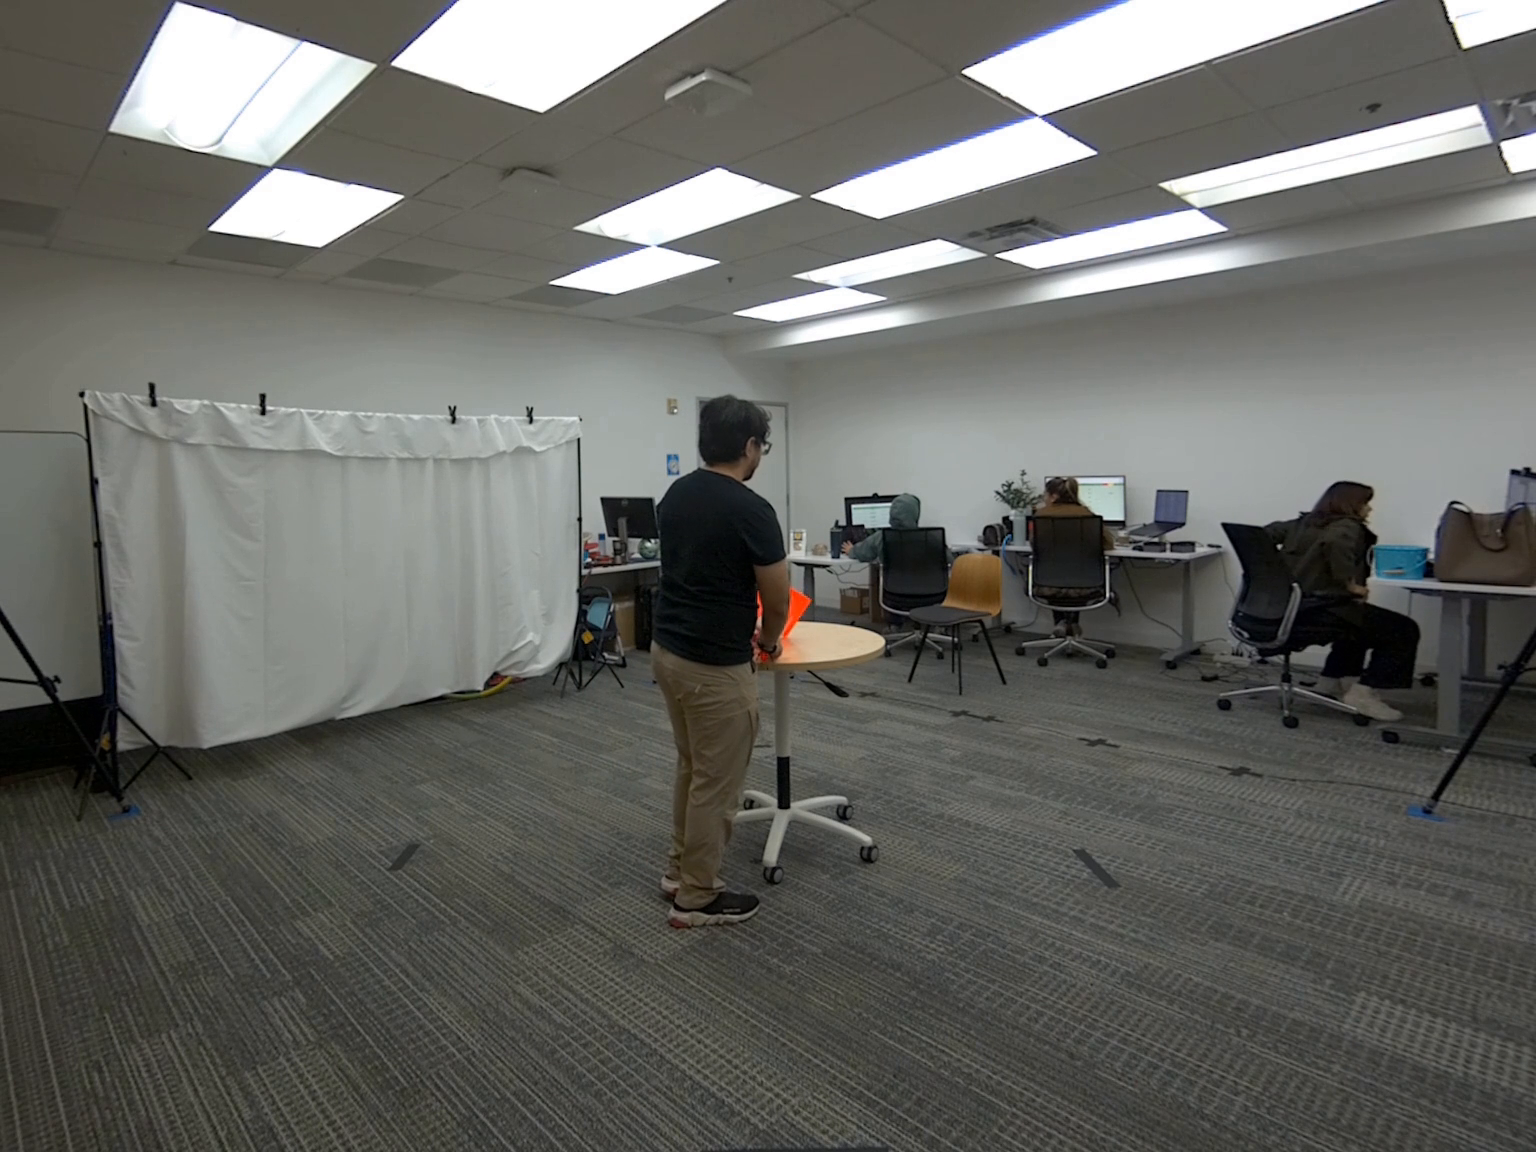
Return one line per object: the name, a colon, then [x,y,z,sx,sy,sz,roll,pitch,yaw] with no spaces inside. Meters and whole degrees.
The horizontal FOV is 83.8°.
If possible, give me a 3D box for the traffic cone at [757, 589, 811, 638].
traffic cone: [0.012,0.199,3.040,0.204,0.202,0.389,26,25,-7]
